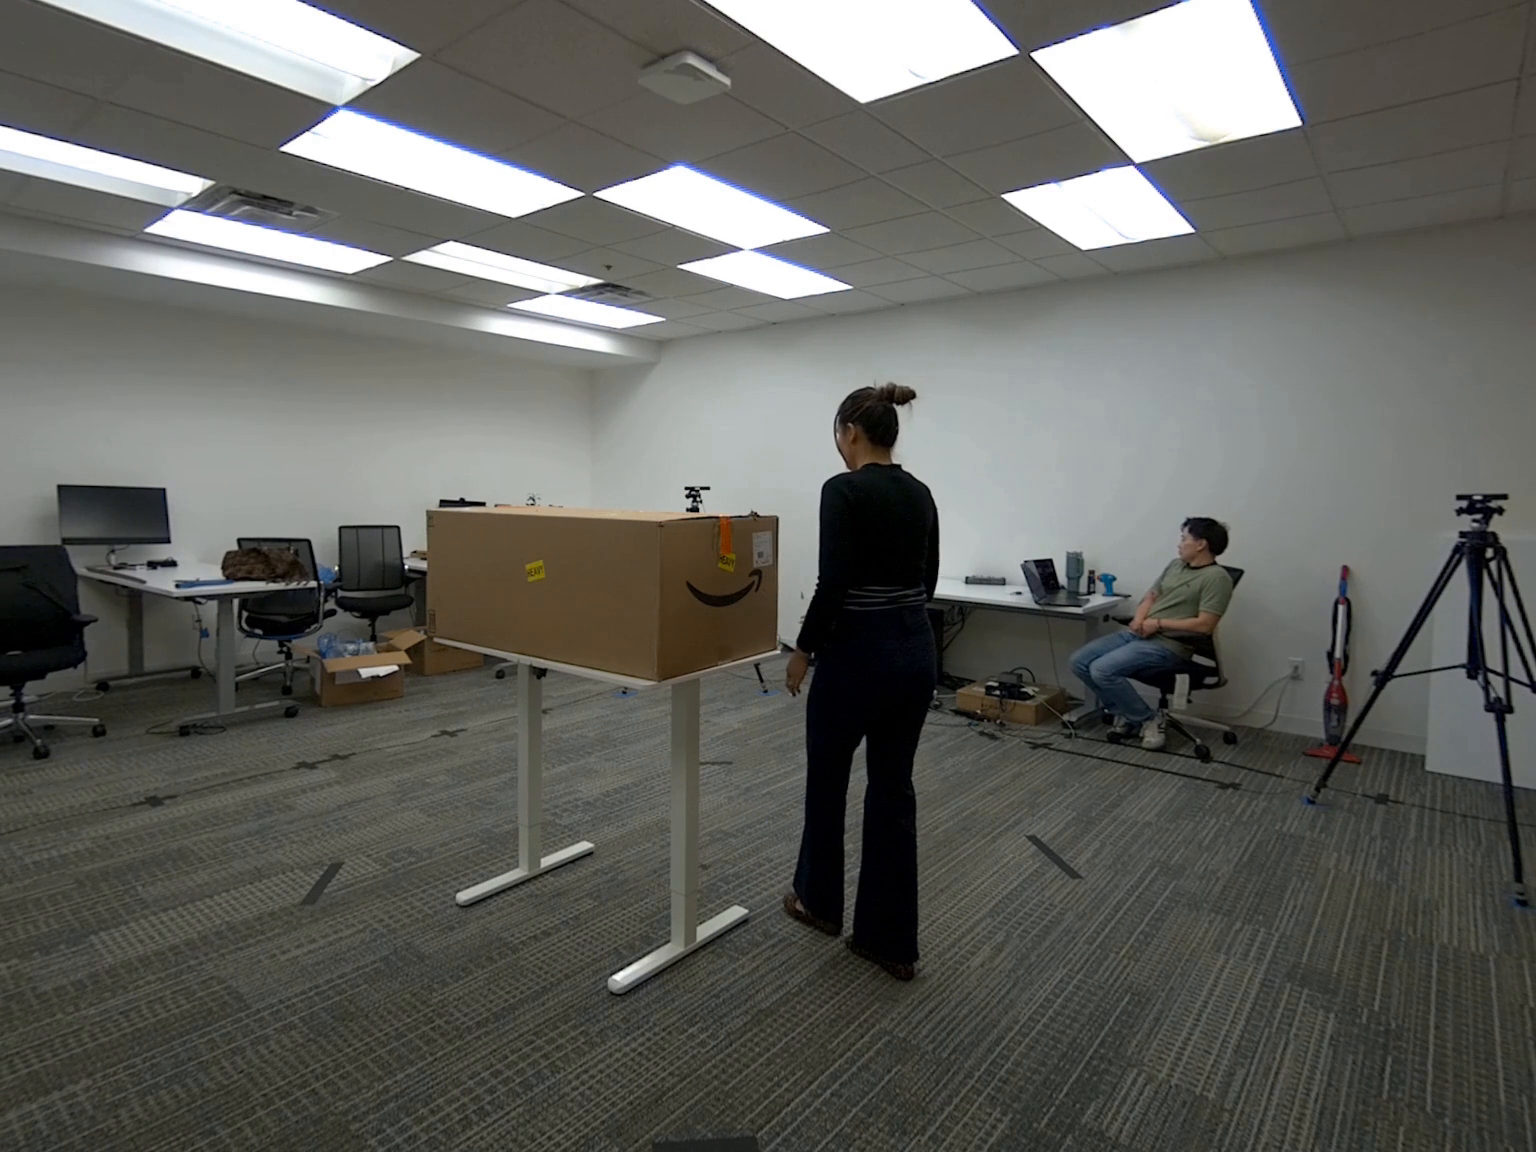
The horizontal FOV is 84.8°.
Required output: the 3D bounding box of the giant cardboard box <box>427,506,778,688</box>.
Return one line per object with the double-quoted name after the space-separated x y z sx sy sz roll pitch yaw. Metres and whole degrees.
-0.552 0.005 2.739 1.060 0.424 0.562 5 7 36 "giant cardboard box"
